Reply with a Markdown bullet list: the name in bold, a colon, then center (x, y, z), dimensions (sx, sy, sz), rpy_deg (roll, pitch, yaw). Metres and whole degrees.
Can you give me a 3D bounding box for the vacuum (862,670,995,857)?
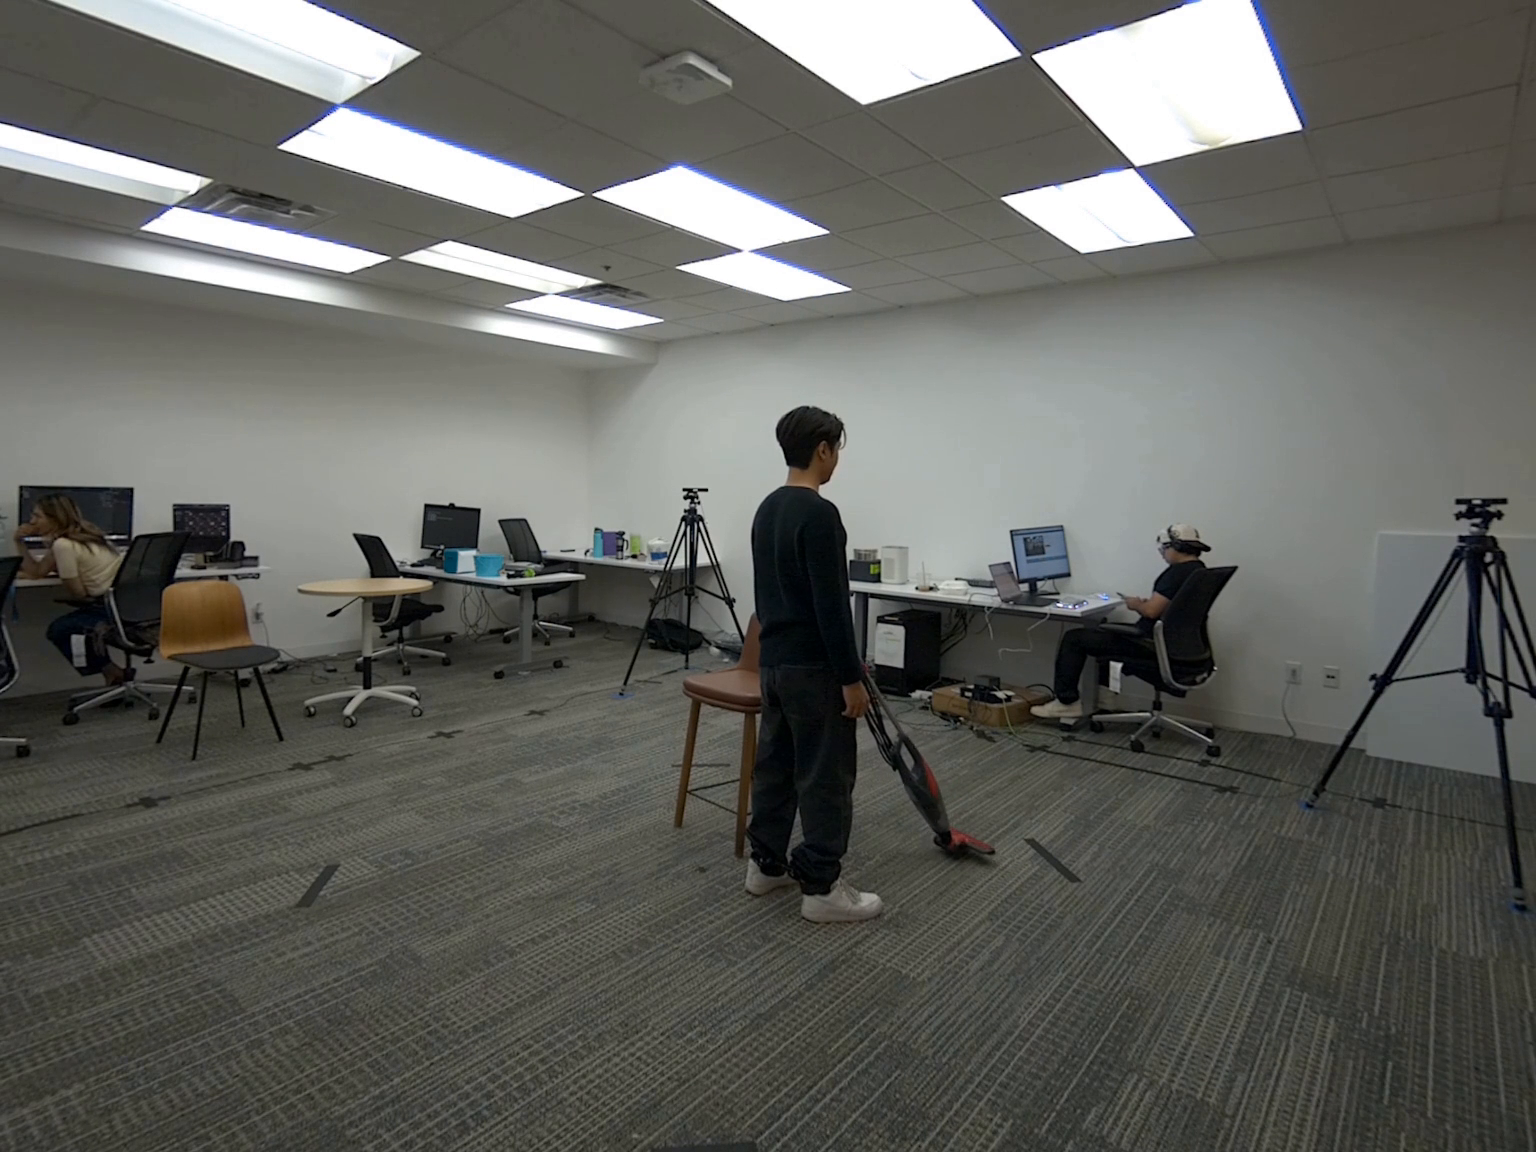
- **vacuum**: center (0.475, 0.634, 3.184), dimensions (0.143, 1.029, 0.258), rpy_deg (-39, 15, -22)
